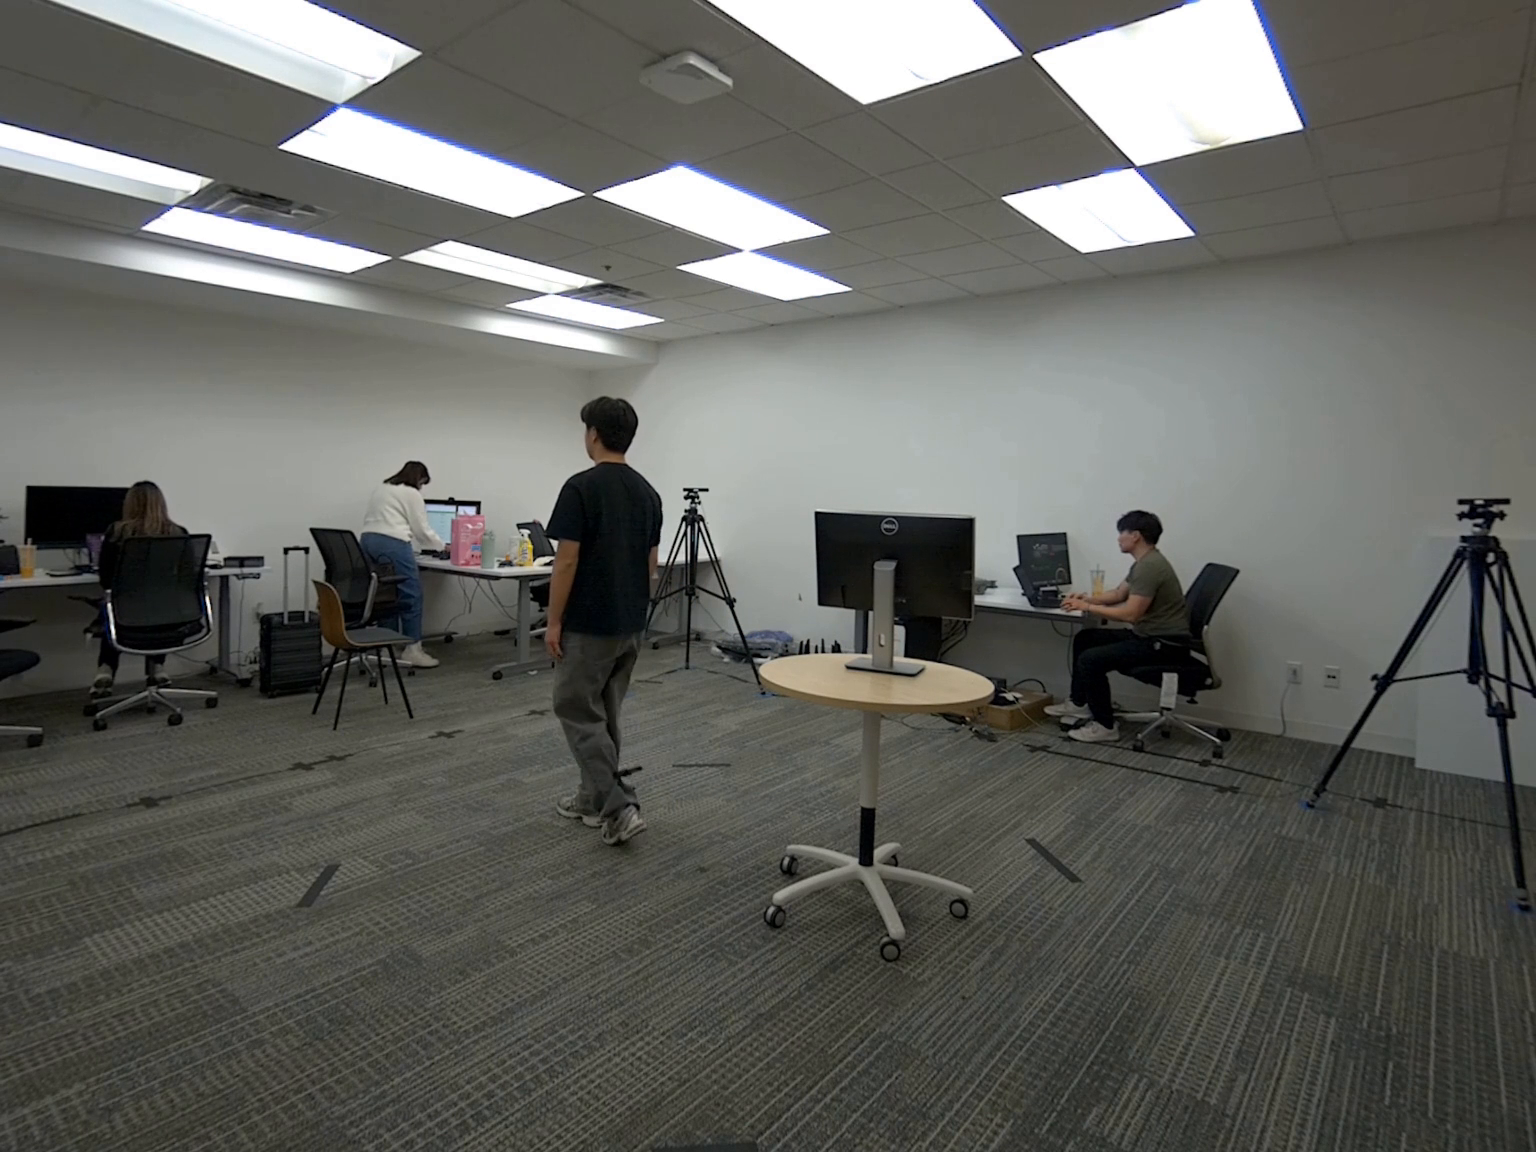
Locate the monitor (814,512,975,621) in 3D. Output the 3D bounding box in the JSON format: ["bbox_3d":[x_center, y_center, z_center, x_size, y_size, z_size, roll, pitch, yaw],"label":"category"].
[{"bbox_3d":[0.418,0.059,2.960,0.577,0.565,0.216,4,1,26],"label":"monitor"}]
